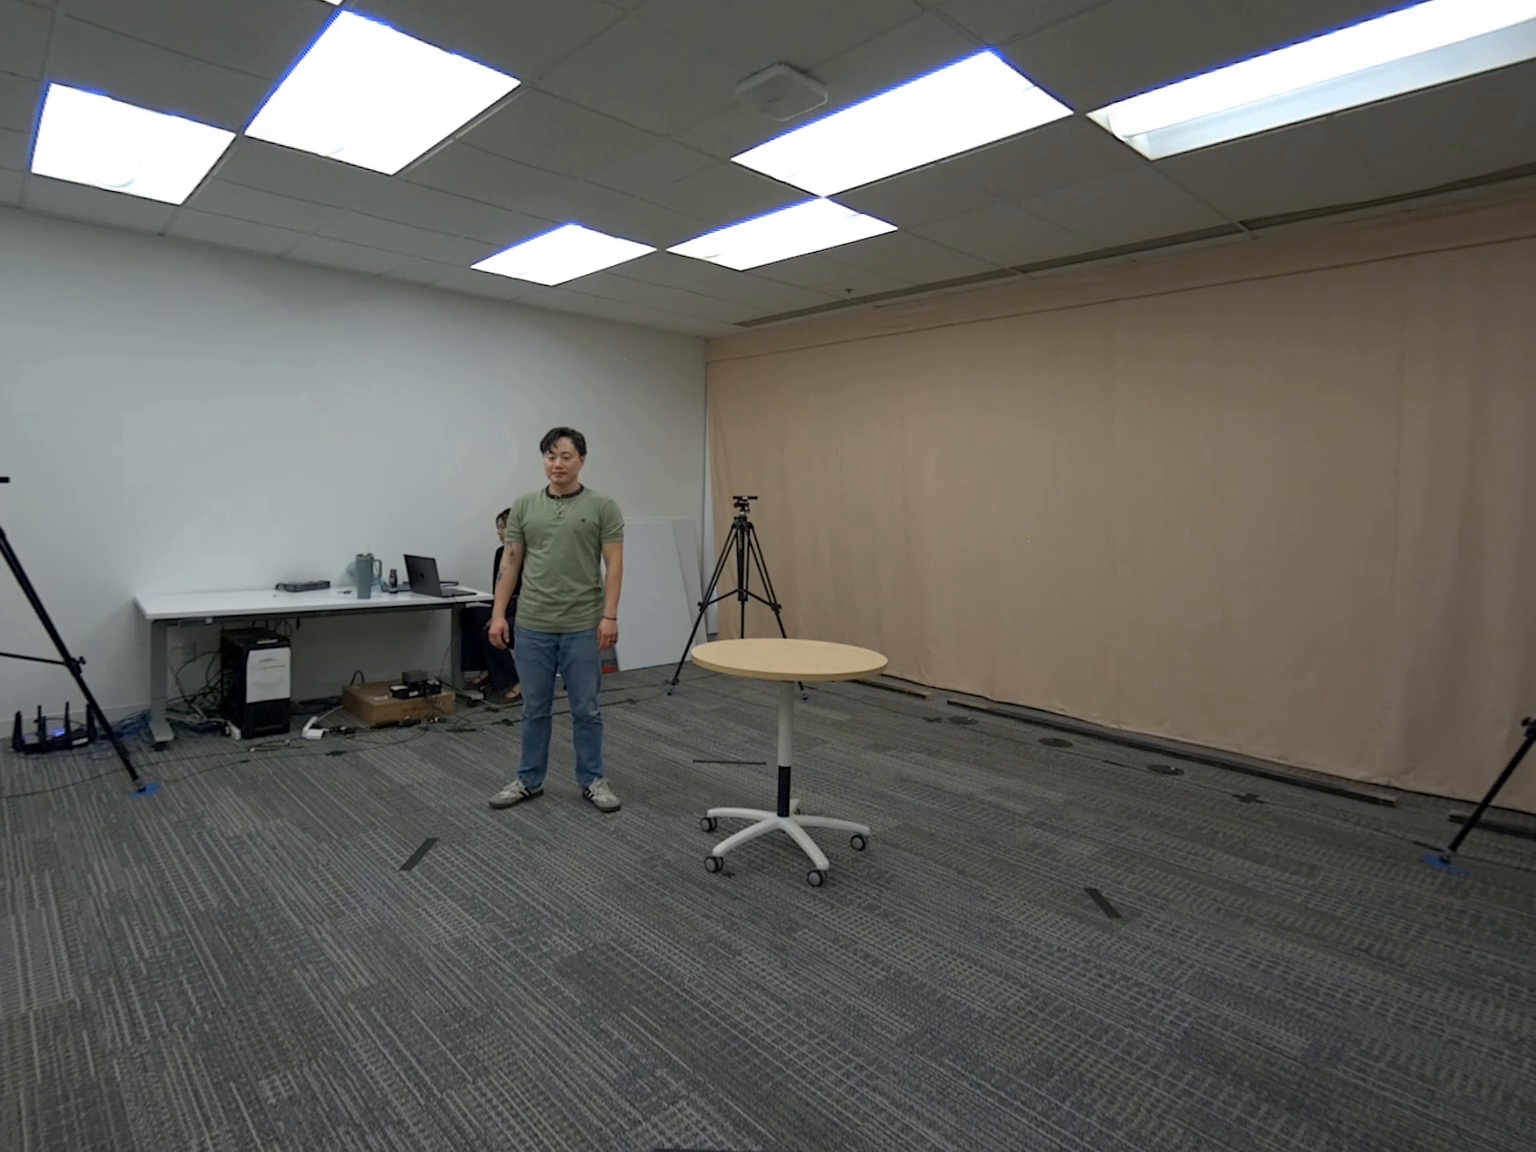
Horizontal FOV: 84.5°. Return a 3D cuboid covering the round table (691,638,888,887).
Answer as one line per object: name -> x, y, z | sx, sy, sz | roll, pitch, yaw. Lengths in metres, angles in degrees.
round table -> 0.052, 0.700, 3.316 | 0.763, 0.792, 0.766 | 2, 3, -1
